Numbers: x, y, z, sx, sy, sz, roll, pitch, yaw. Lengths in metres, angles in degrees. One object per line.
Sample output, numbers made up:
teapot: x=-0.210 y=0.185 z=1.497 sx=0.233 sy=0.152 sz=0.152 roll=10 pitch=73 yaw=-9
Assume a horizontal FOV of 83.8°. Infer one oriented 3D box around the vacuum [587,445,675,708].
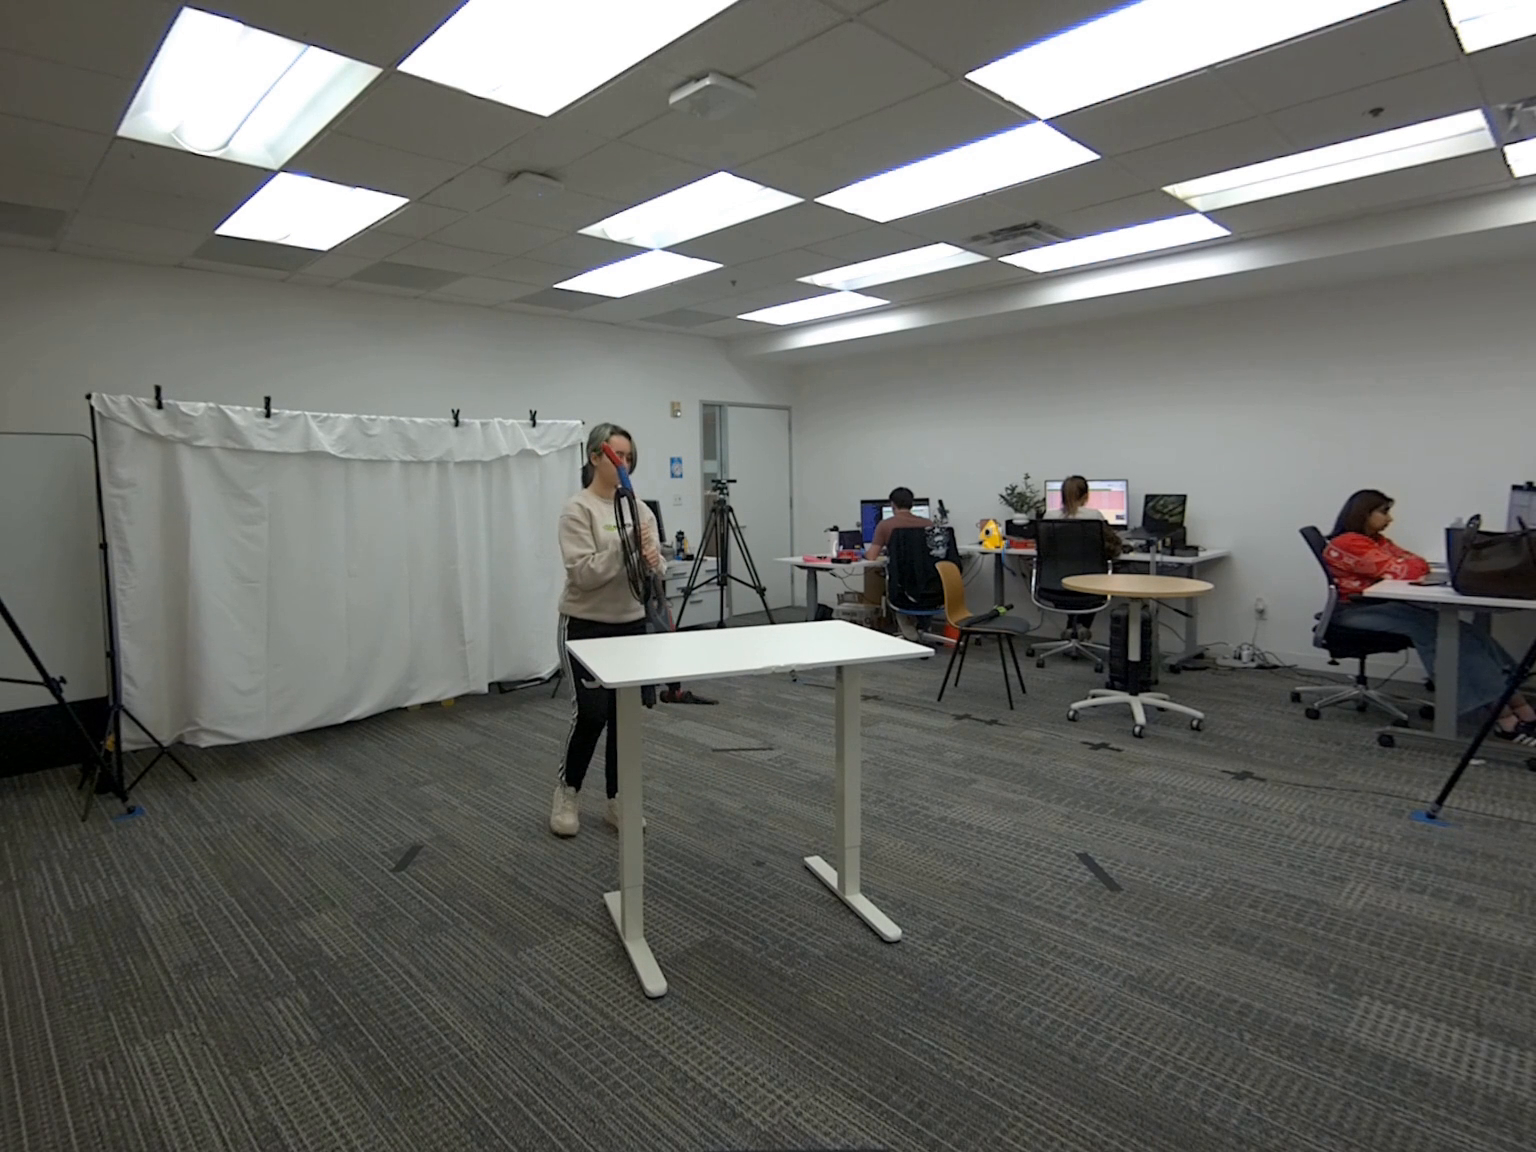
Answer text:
vacuum: x=-0.472 y=0.005 z=3.273 sx=0.259 sy=1.035 sz=0.142 roll=-6 pitch=15 yaw=36
